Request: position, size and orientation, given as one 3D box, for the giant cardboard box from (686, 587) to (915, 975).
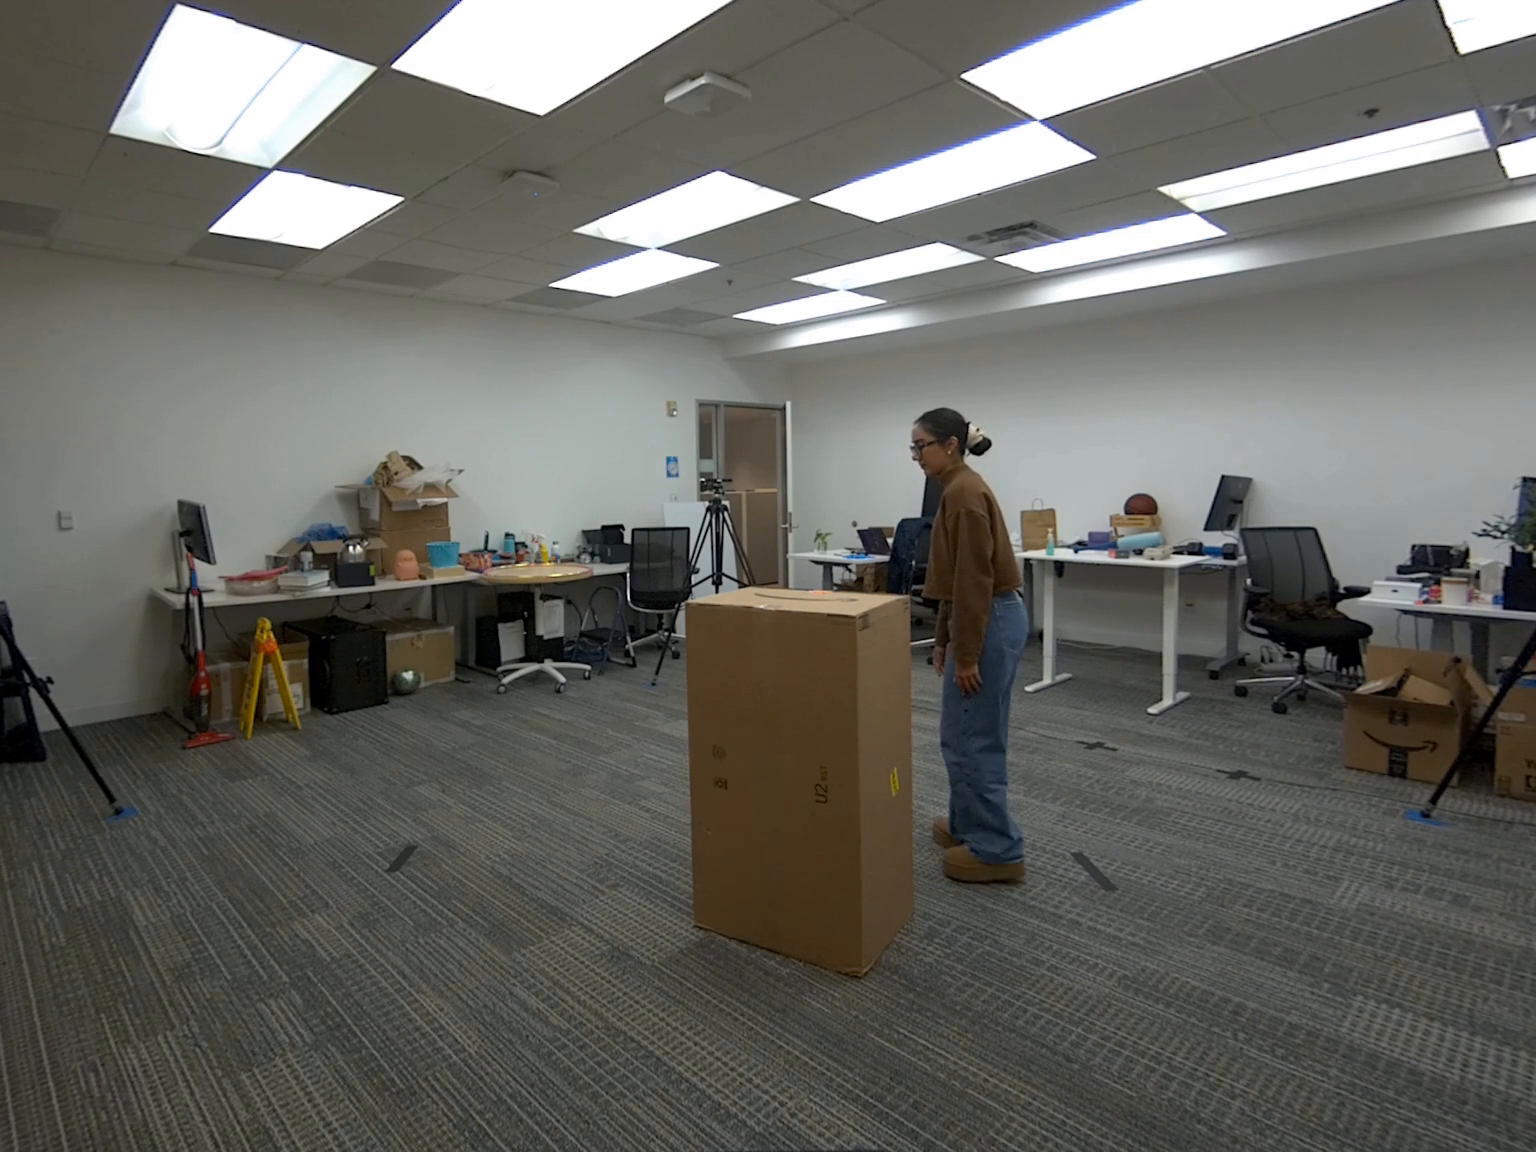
[{"bbox_3d":[0.108,0.582,2.673,0.593,1.023,0.416,1,4,31],"label":"giant cardboard box"}]
